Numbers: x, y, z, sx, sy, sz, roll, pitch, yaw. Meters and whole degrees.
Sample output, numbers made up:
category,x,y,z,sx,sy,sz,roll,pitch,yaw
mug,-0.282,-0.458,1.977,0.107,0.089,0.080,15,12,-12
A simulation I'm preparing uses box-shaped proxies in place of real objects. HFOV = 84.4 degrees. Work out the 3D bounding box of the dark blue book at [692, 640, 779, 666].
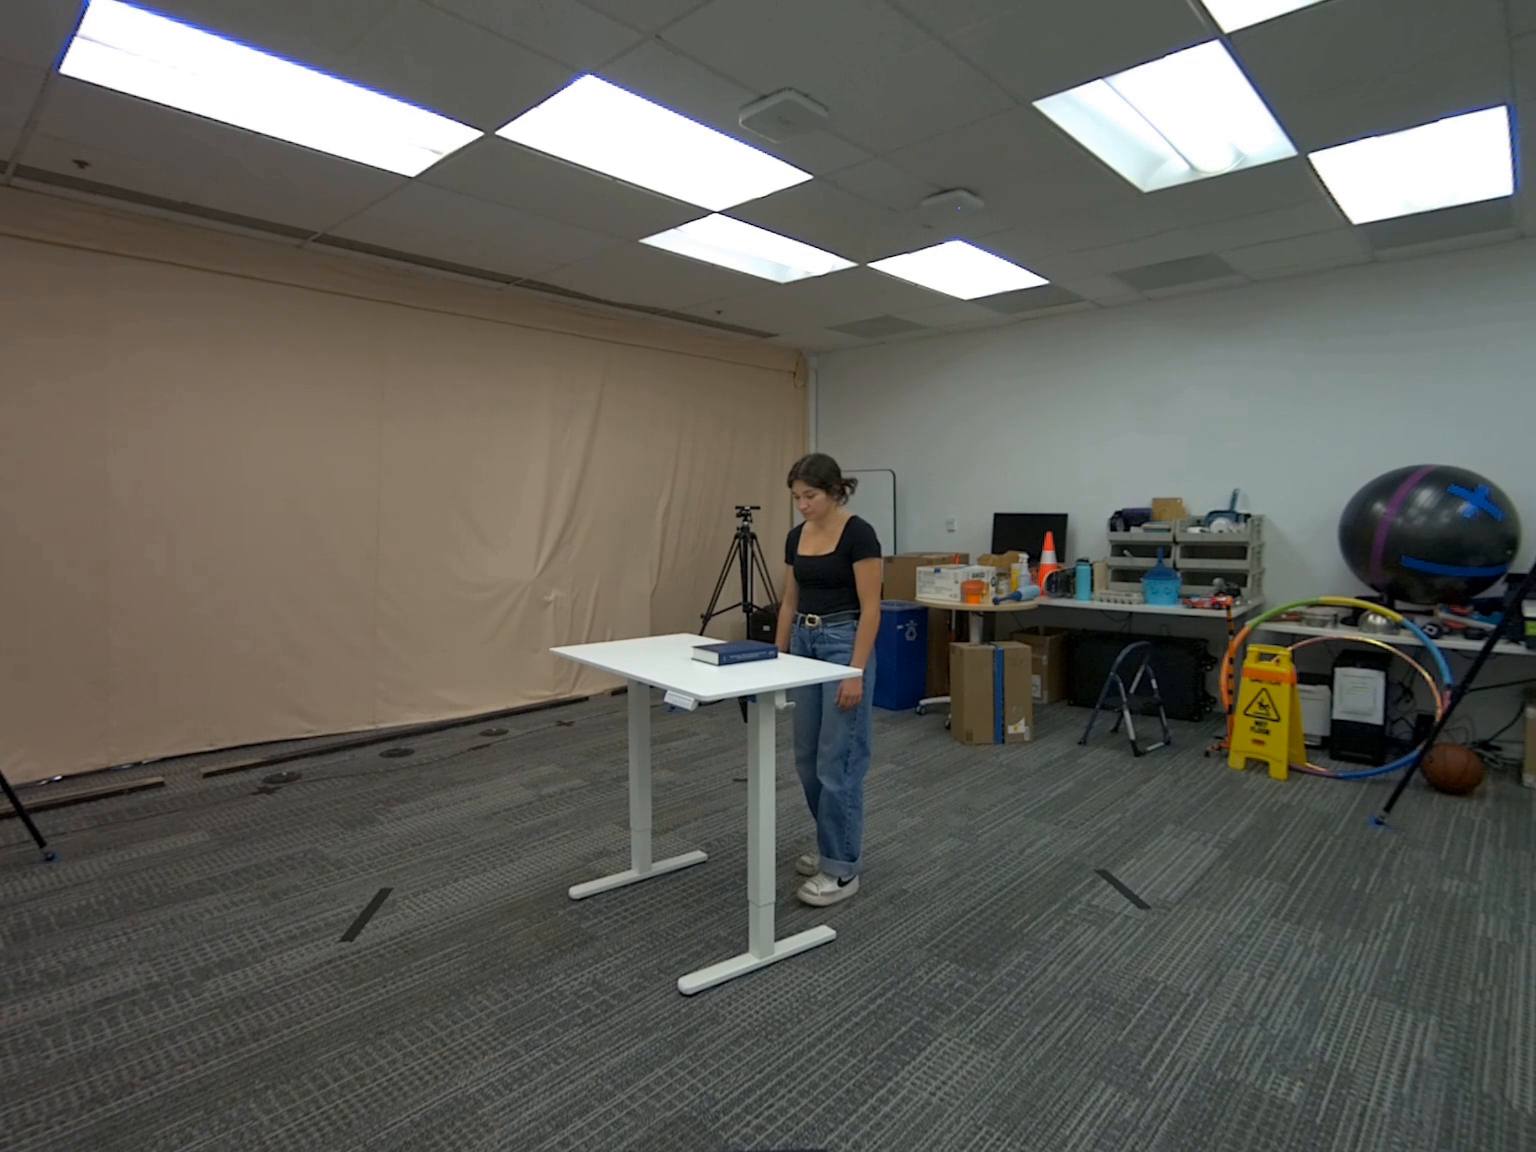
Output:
category,x,y,z,sx,sy,sz,roll,pitch,yaw
dark blue book,-0.102,0.257,2.808,0.238,0.045,0.168,-4,6,-36
